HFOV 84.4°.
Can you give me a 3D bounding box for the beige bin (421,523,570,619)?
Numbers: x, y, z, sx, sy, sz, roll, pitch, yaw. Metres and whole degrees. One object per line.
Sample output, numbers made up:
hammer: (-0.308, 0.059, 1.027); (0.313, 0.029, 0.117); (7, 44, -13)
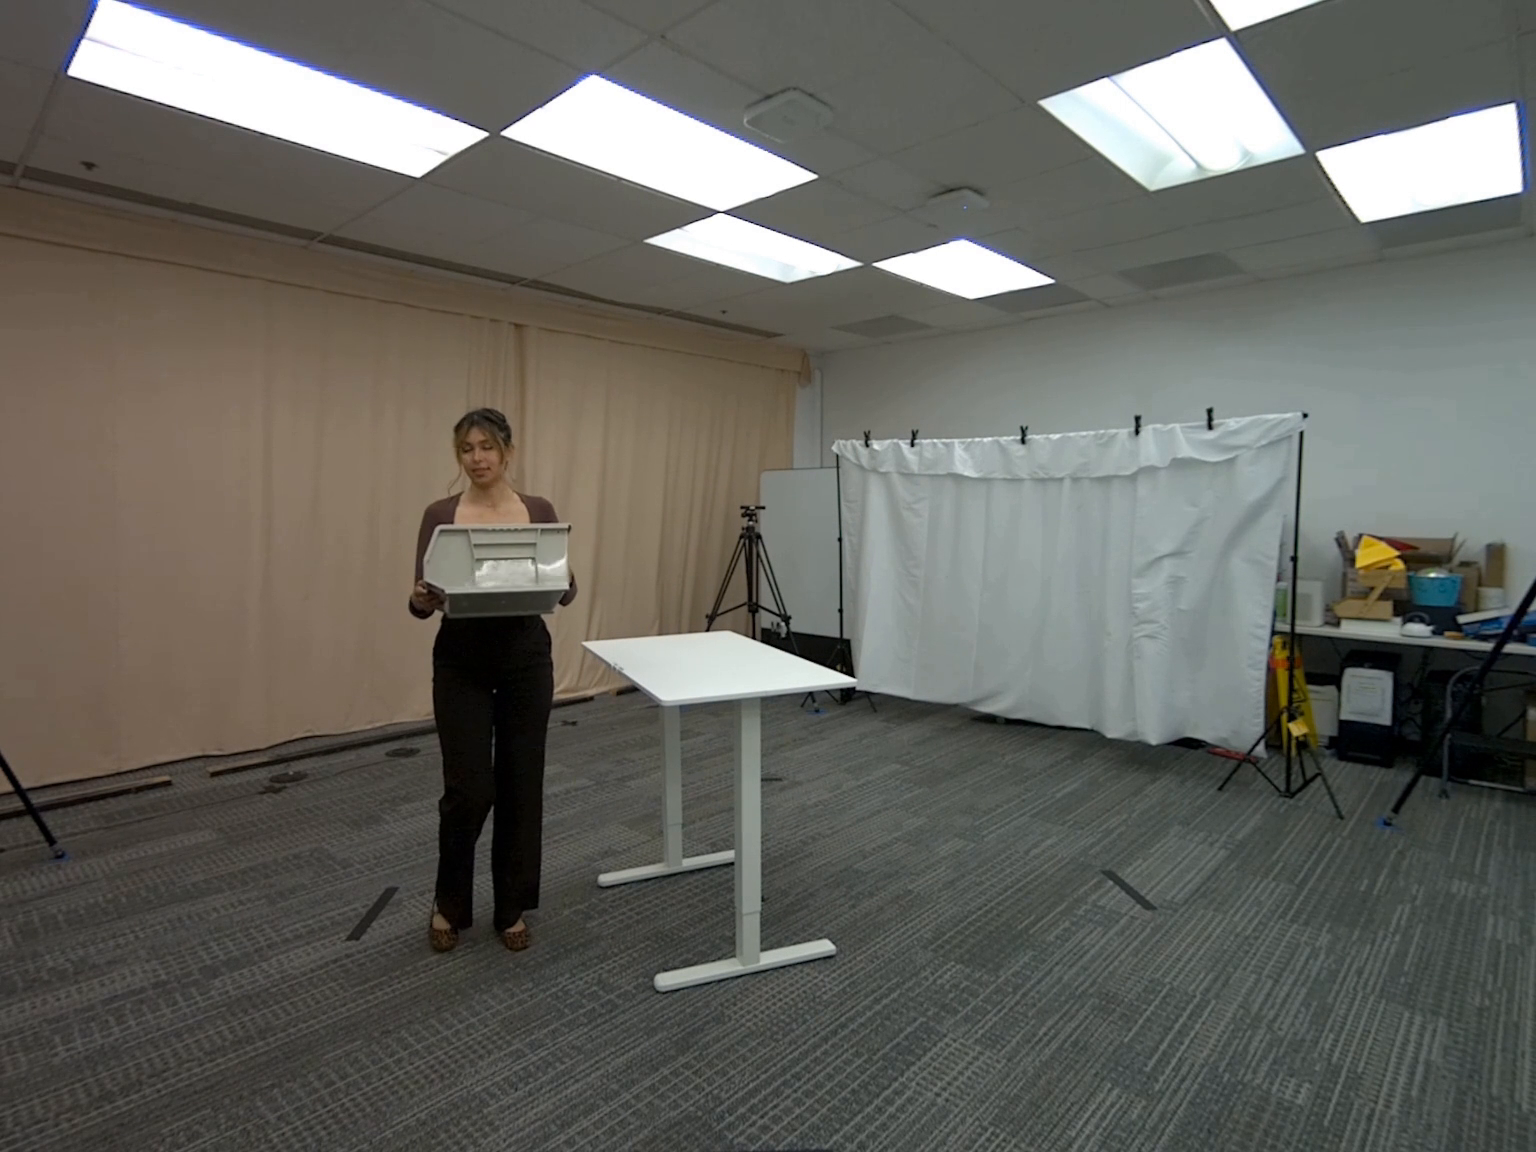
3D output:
beige bin: (-0.765, -0.008, 2.374); (0.371, 0.190, 0.426); (0, -12, -17)
